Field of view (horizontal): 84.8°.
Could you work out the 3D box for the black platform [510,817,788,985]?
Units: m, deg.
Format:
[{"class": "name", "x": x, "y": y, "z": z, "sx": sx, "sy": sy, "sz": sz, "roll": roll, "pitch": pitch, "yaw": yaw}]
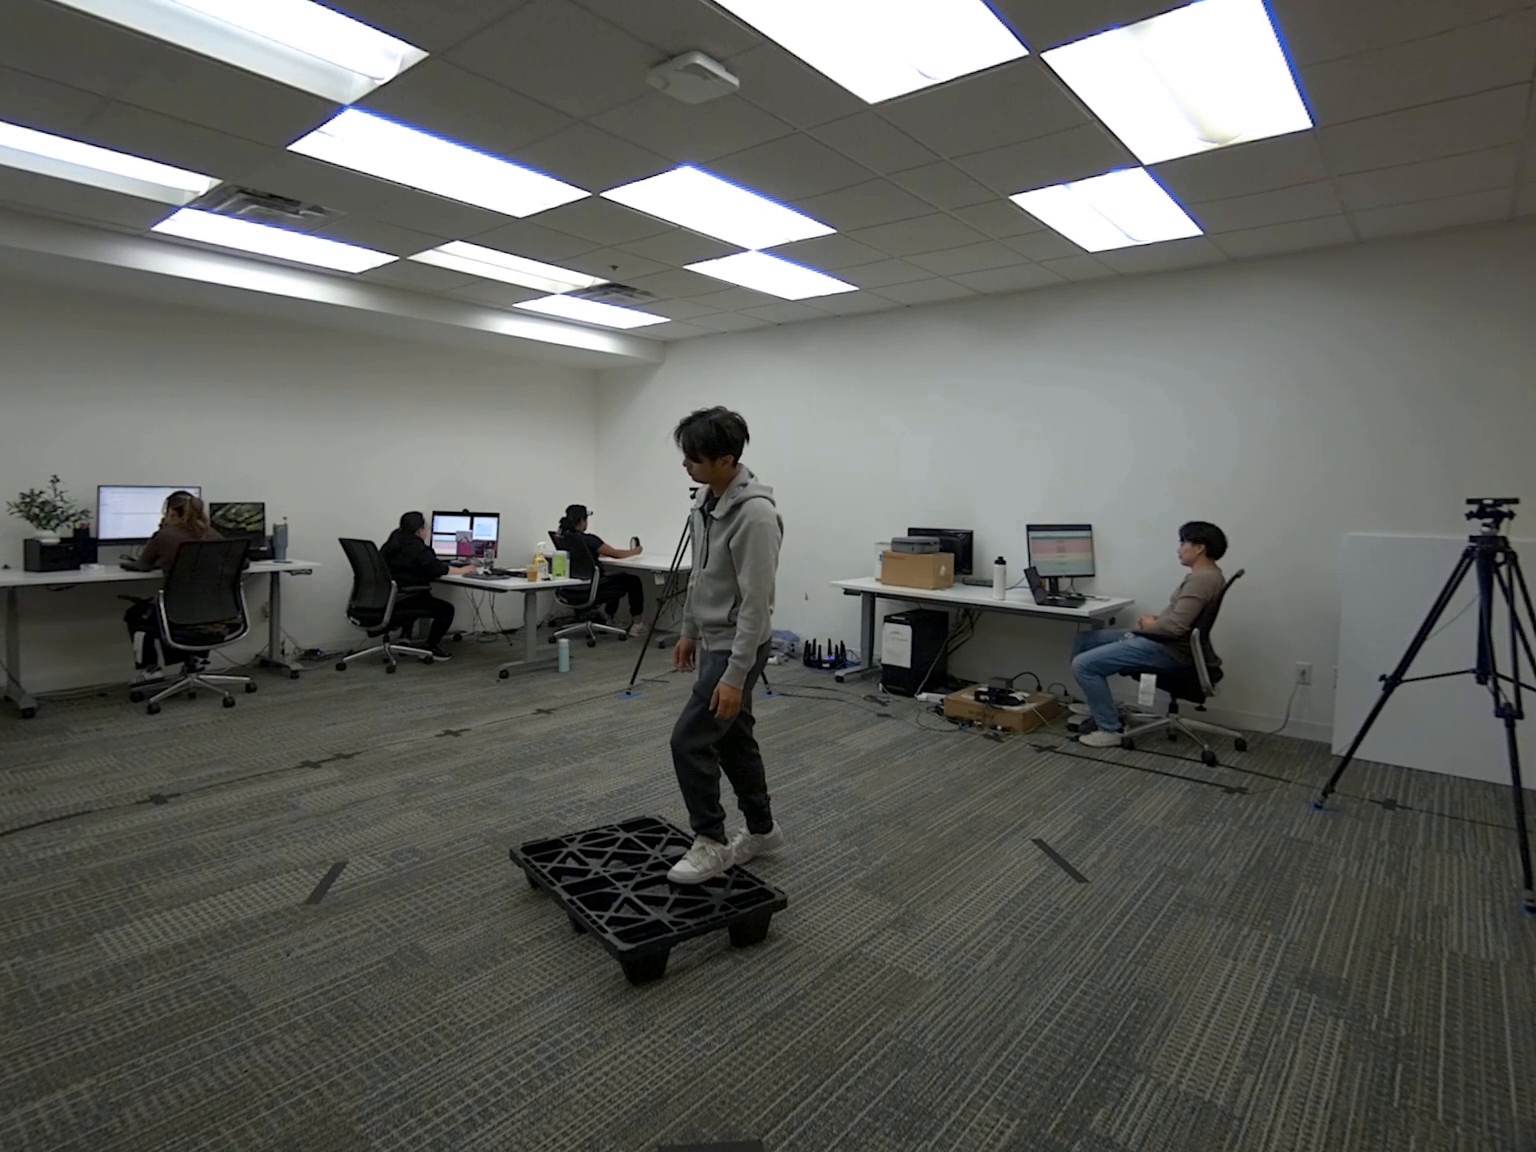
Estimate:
[{"class": "black platform", "x": -0.425, "y": 1.025, "z": 2.791, "sx": 0.587, "sy": 0.143, "sz": 0.833, "roll": -1, "pitch": 6, "yaw": -37}]
